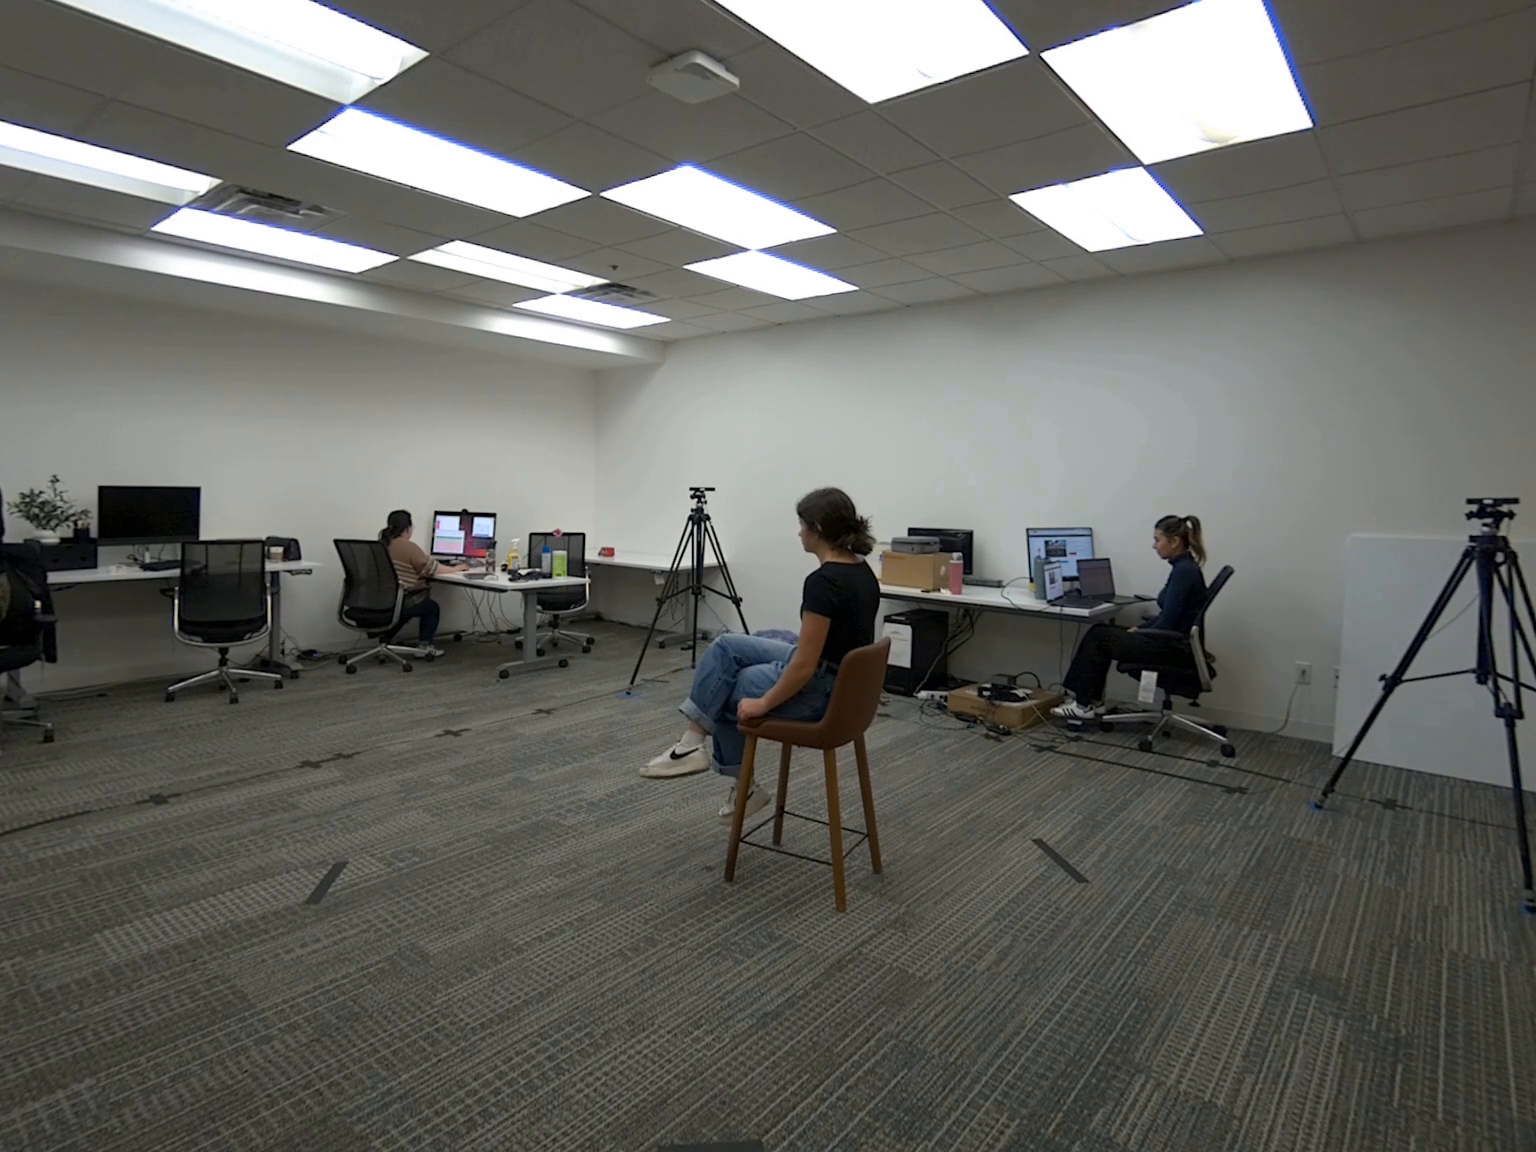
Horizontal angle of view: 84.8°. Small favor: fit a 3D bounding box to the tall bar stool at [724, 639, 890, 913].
[{"bbox_3d":[0.149,0.649,3.041,0.481,0.886,0.445,6,5,29],"label":"tall bar stool"}]
